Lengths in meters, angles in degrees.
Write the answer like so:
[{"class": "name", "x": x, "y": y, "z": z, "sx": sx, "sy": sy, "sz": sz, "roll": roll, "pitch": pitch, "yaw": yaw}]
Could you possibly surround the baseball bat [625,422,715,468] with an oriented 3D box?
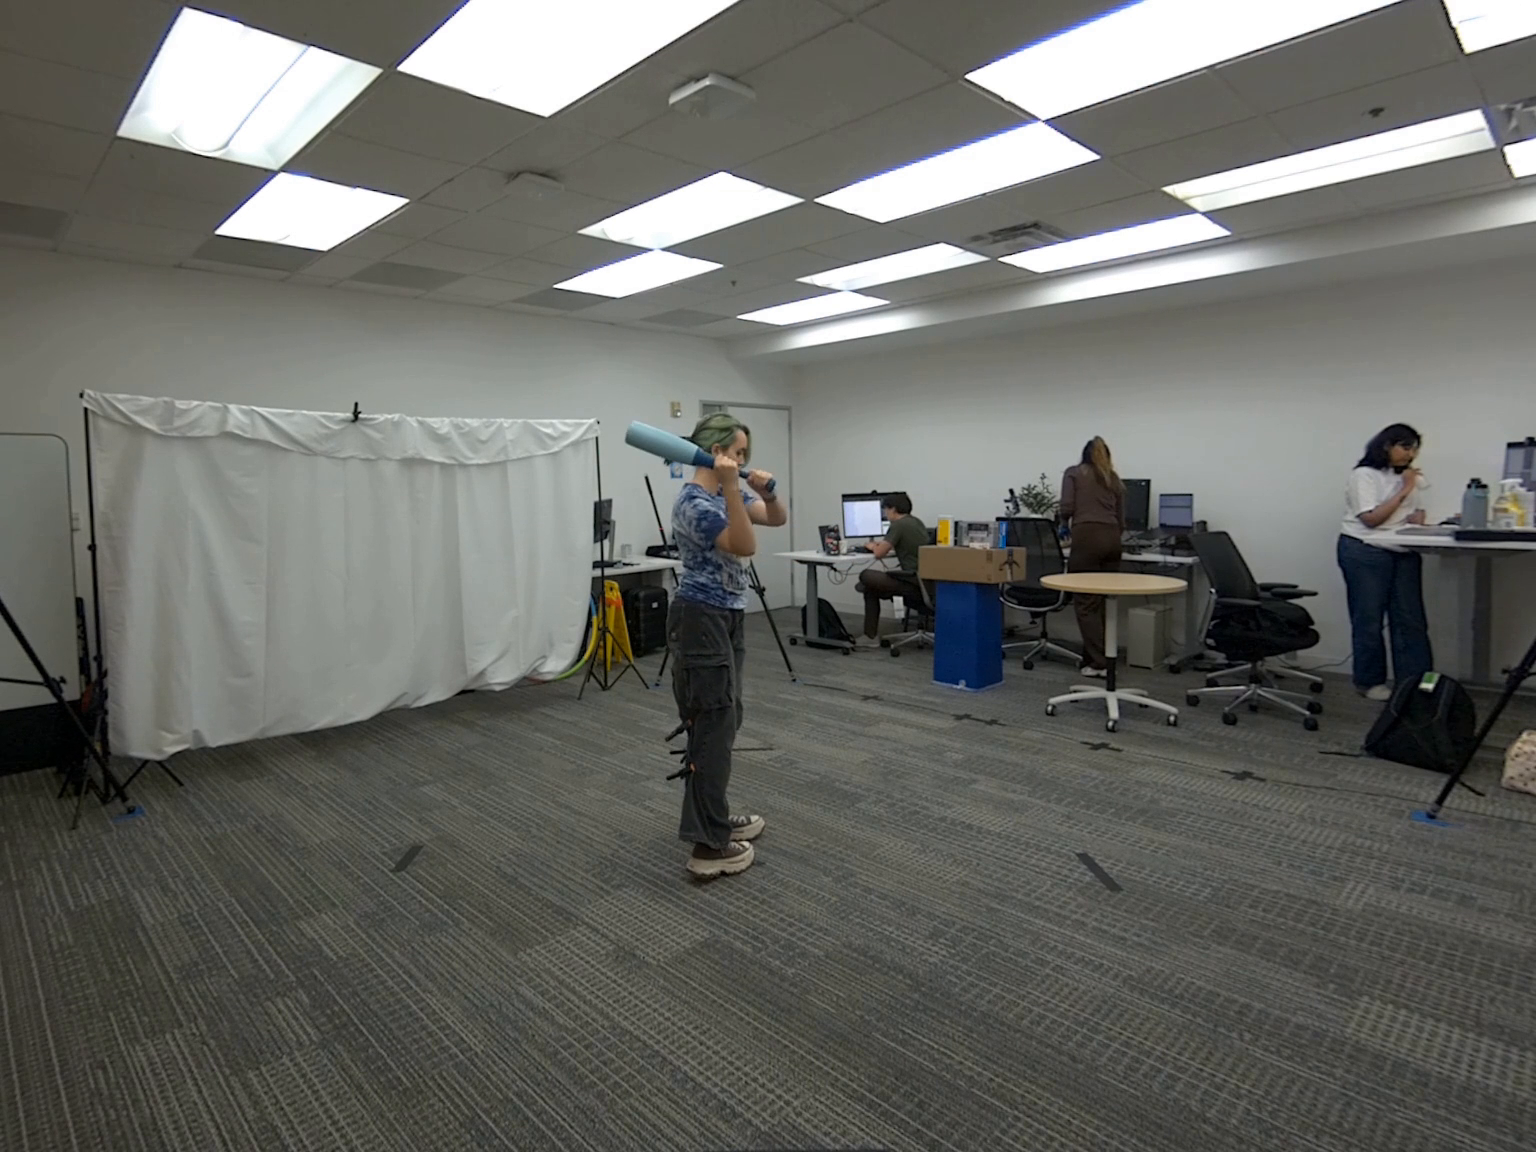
[{"class": "baseball bat", "x": -0.233, "y": -0.399, "z": 2.954, "sx": 0.543, "sy": 0.089, "sz": 0.089, "roll": 22, "pitch": 4, "yaw": 1}]
